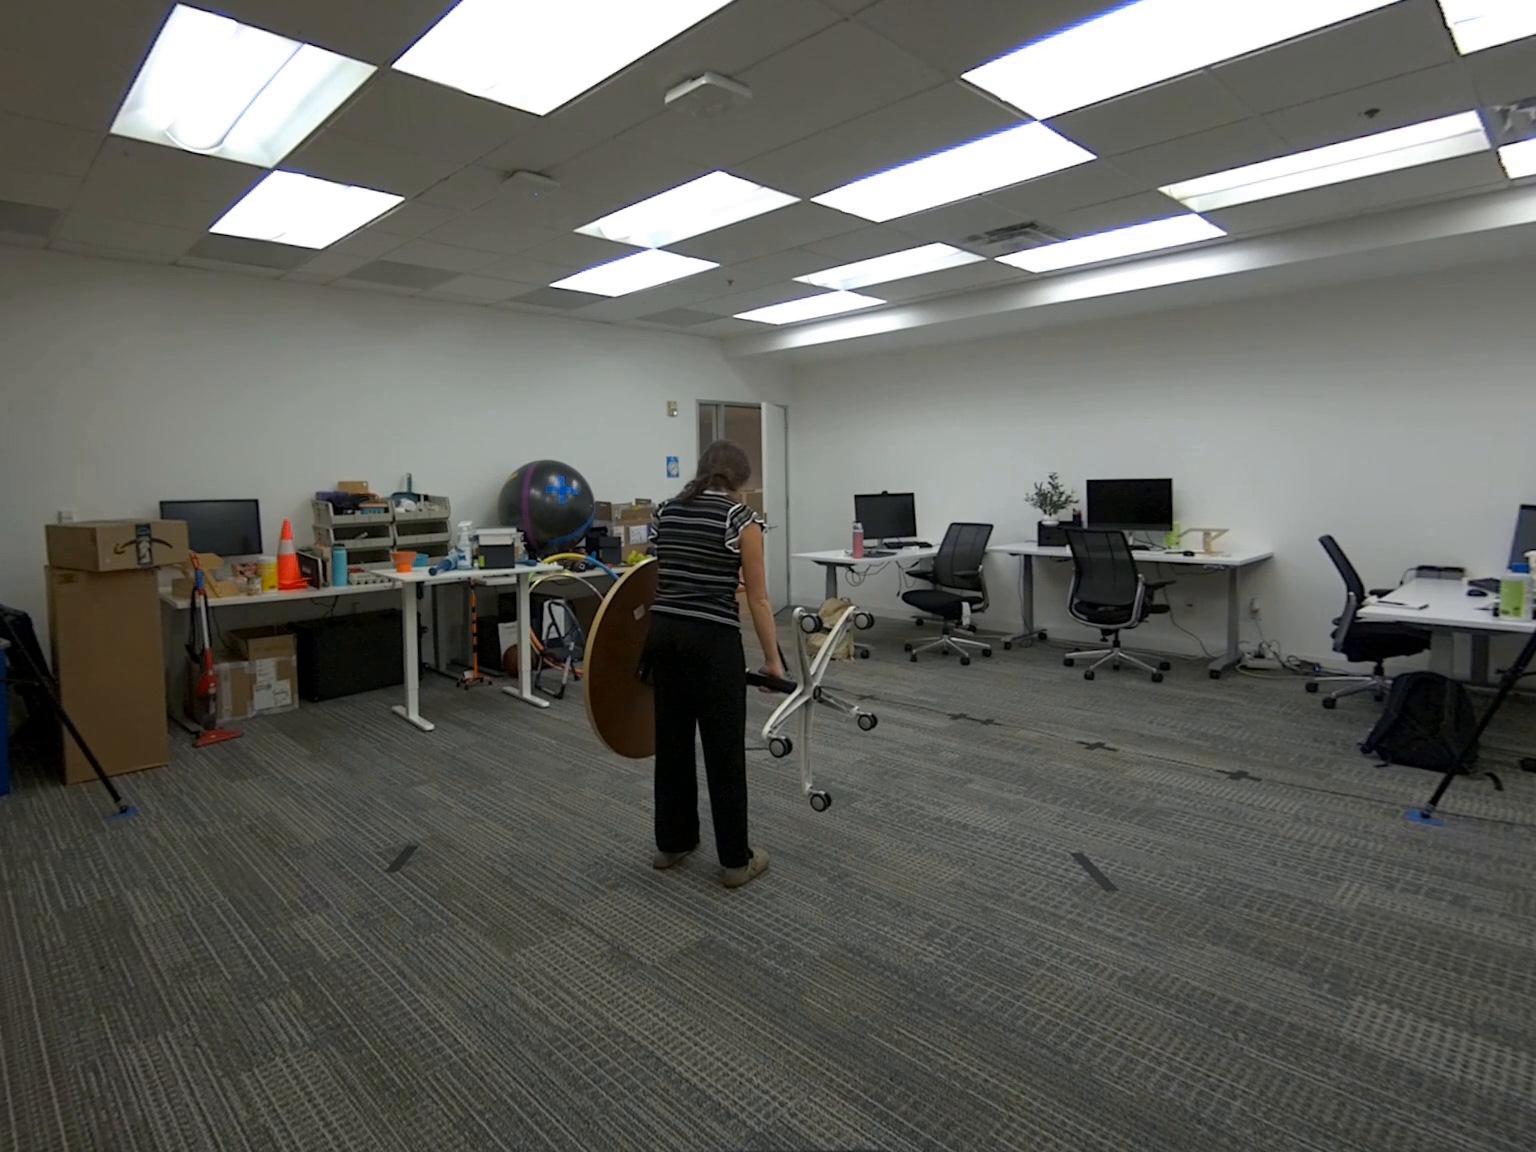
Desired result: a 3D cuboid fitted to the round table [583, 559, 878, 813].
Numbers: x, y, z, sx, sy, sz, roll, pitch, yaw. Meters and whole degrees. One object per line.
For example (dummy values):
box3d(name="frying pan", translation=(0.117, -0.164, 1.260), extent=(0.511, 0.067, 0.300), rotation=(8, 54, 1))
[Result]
box3d(name="round table", translation=(-0.098, 0.361, 3.036), extent=(0.818, 0.759, 0.746), rotation=(7, 9, 33))
